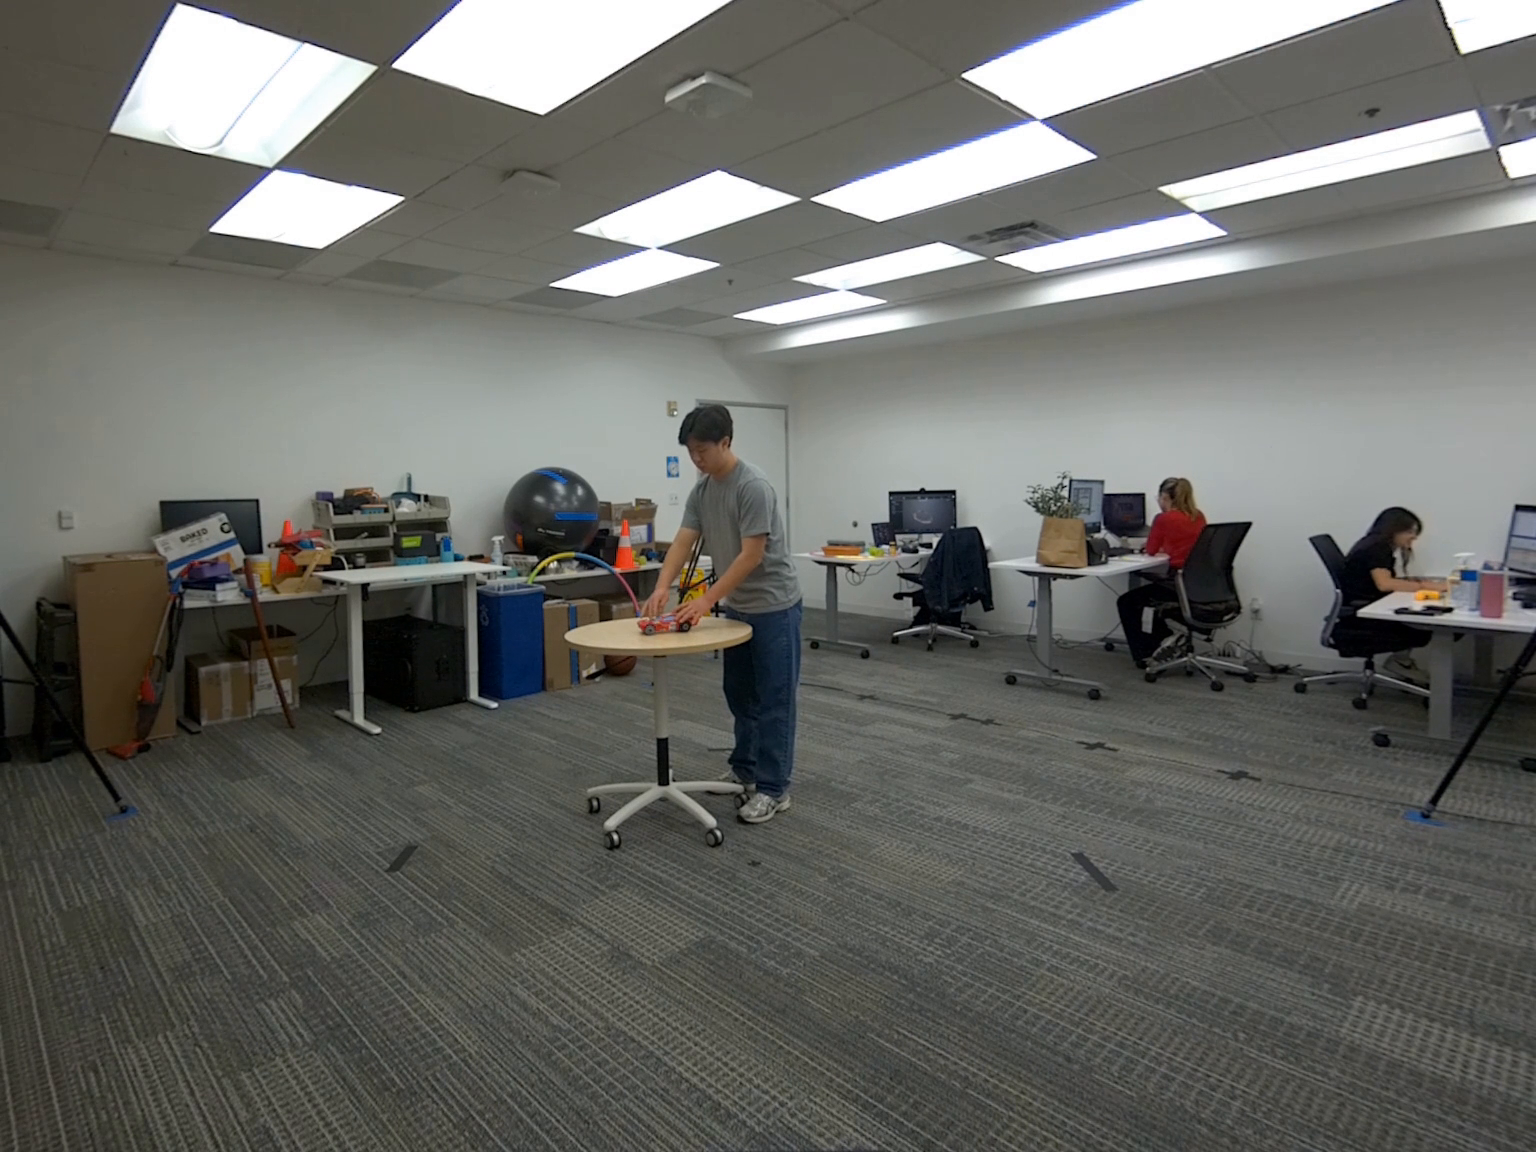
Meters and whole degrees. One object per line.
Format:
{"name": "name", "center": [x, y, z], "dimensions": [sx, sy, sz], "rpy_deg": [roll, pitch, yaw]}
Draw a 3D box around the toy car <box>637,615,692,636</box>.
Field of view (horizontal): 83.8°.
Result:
{"name": "toy car", "center": [-0.401, 0.194, 3.482], "dimensions": [0.252, 0.082, 0.133], "rpy_deg": [-15, 8, -15]}
